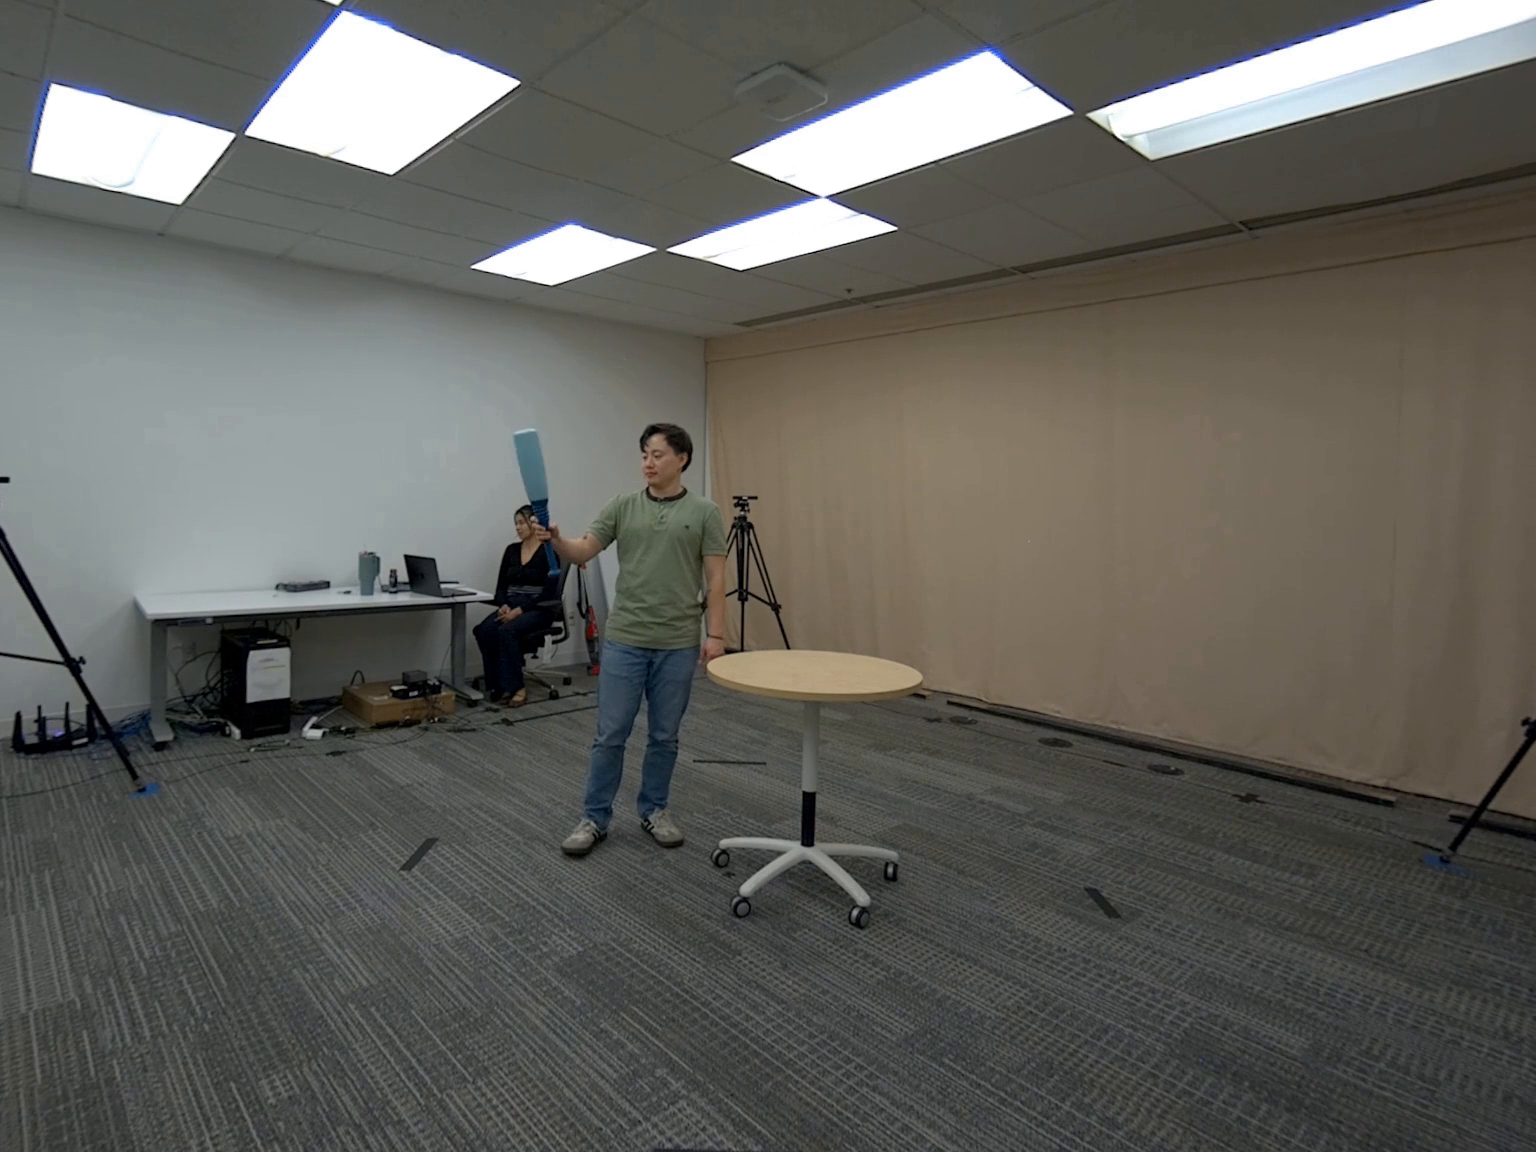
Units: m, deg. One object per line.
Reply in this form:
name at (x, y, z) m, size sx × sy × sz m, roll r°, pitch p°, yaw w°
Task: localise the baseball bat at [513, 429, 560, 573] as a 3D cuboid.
baseball bat at (-0.824, -0.251, 3.016) m, size 0.089 × 0.538 × 0.090 m, roll -11°, pitch 11°, yaw 1°
